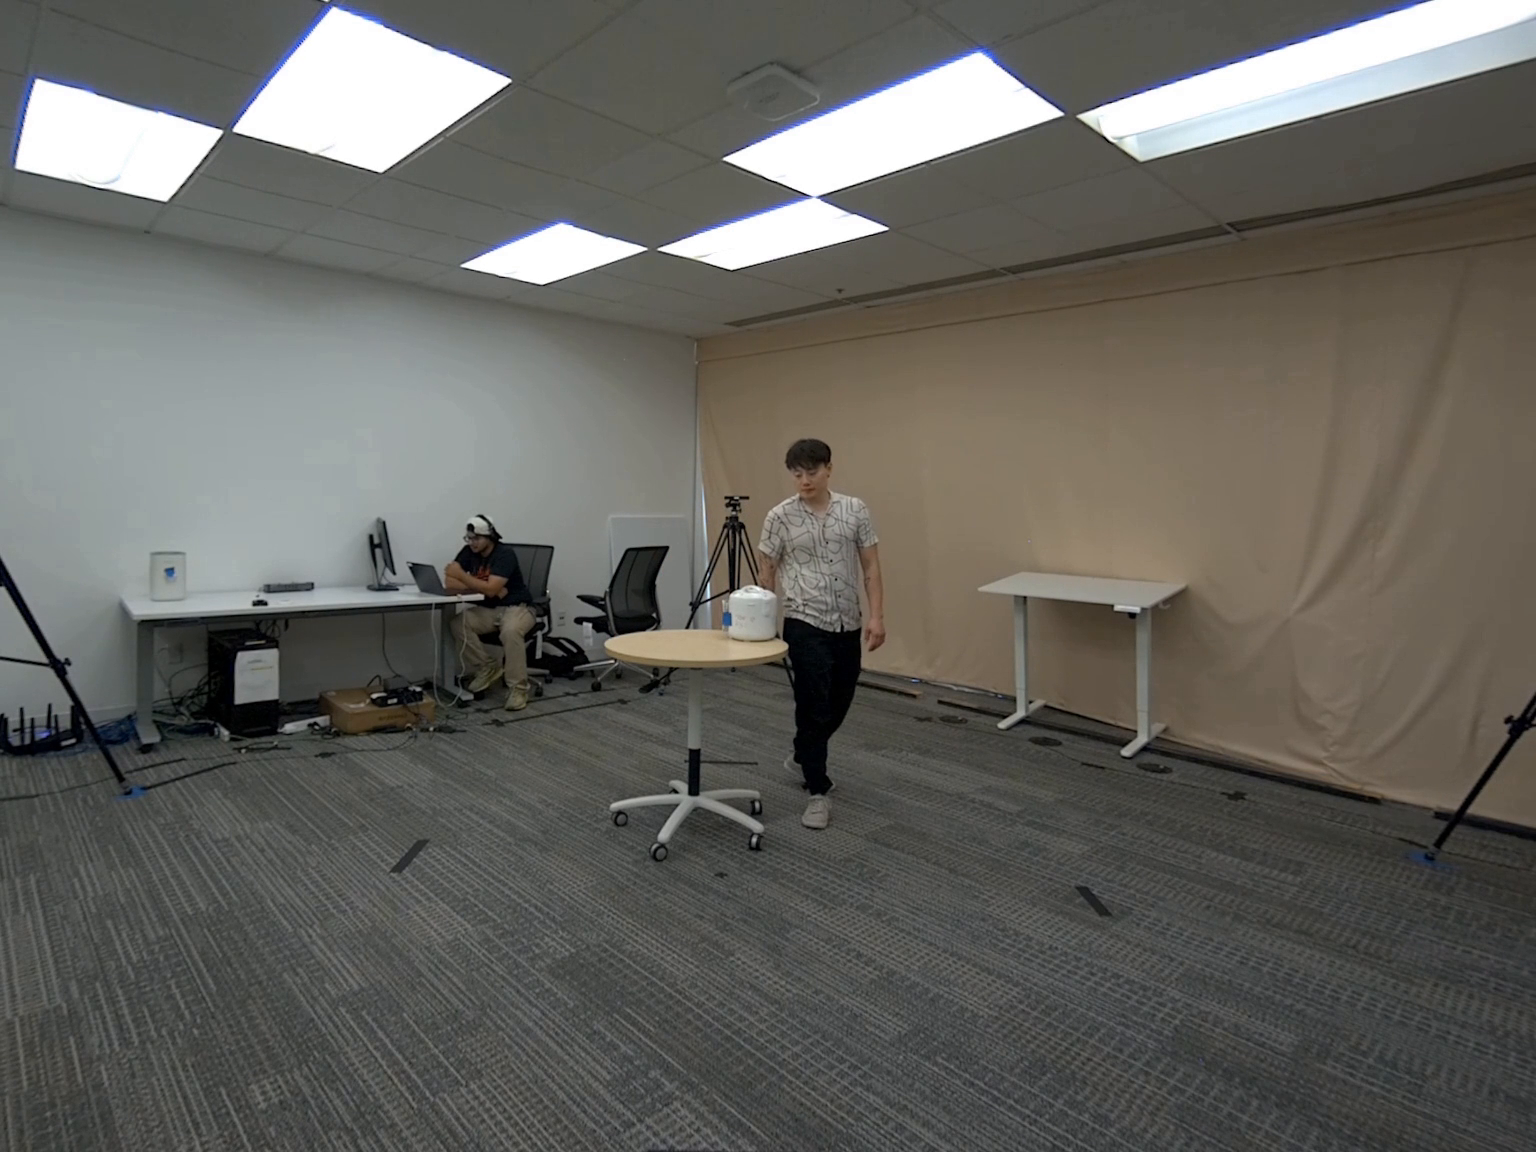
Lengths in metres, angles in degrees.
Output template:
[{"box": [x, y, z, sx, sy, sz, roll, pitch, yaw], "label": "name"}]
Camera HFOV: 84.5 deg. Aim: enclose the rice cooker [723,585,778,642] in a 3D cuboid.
[{"box": [-0.073, 0.157, 3.663, 0.213, 0.232, 0.226, -1, 6, -35], "label": "rice cooker"}]
